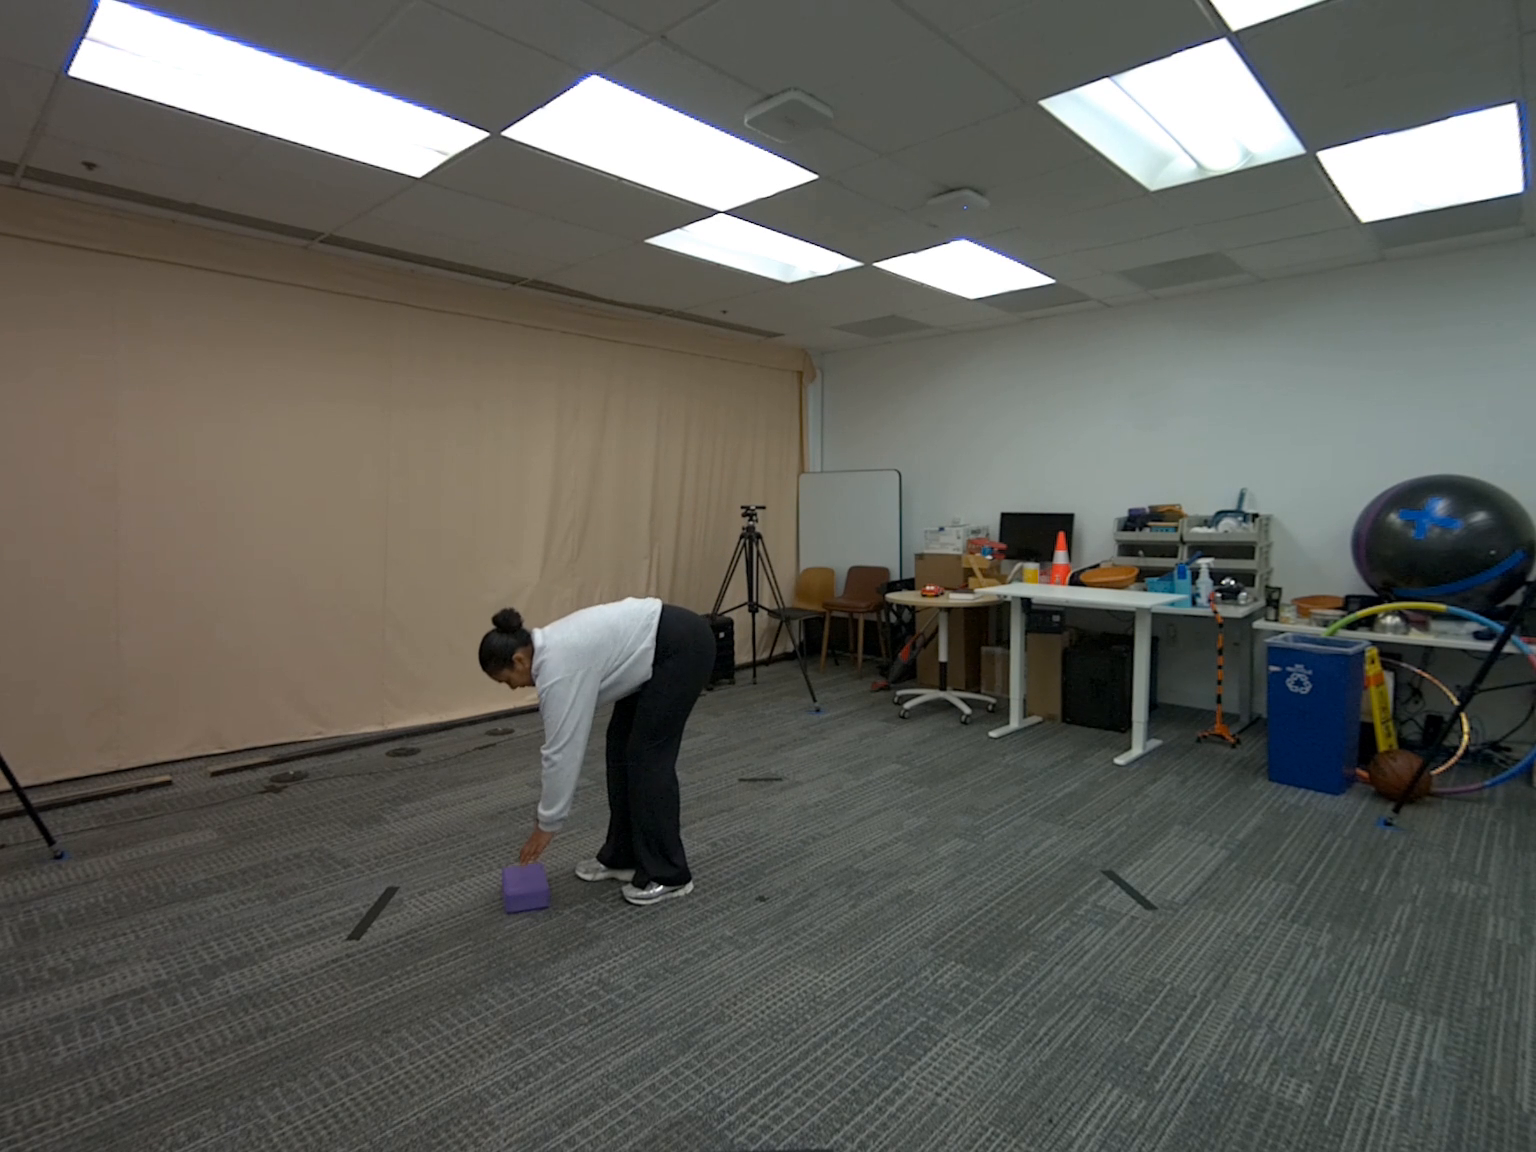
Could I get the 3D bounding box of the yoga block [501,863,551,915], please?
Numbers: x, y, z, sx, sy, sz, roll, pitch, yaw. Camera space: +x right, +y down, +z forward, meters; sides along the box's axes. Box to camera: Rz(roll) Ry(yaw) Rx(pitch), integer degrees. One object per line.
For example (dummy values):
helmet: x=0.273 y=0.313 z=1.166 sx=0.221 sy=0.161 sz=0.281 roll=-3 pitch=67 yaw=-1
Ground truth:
yoga block: x=-0.867 y=1.113 z=3.006 sx=0.146 sy=0.076 sz=0.234 roll=-2 pitch=5 yaw=-19
